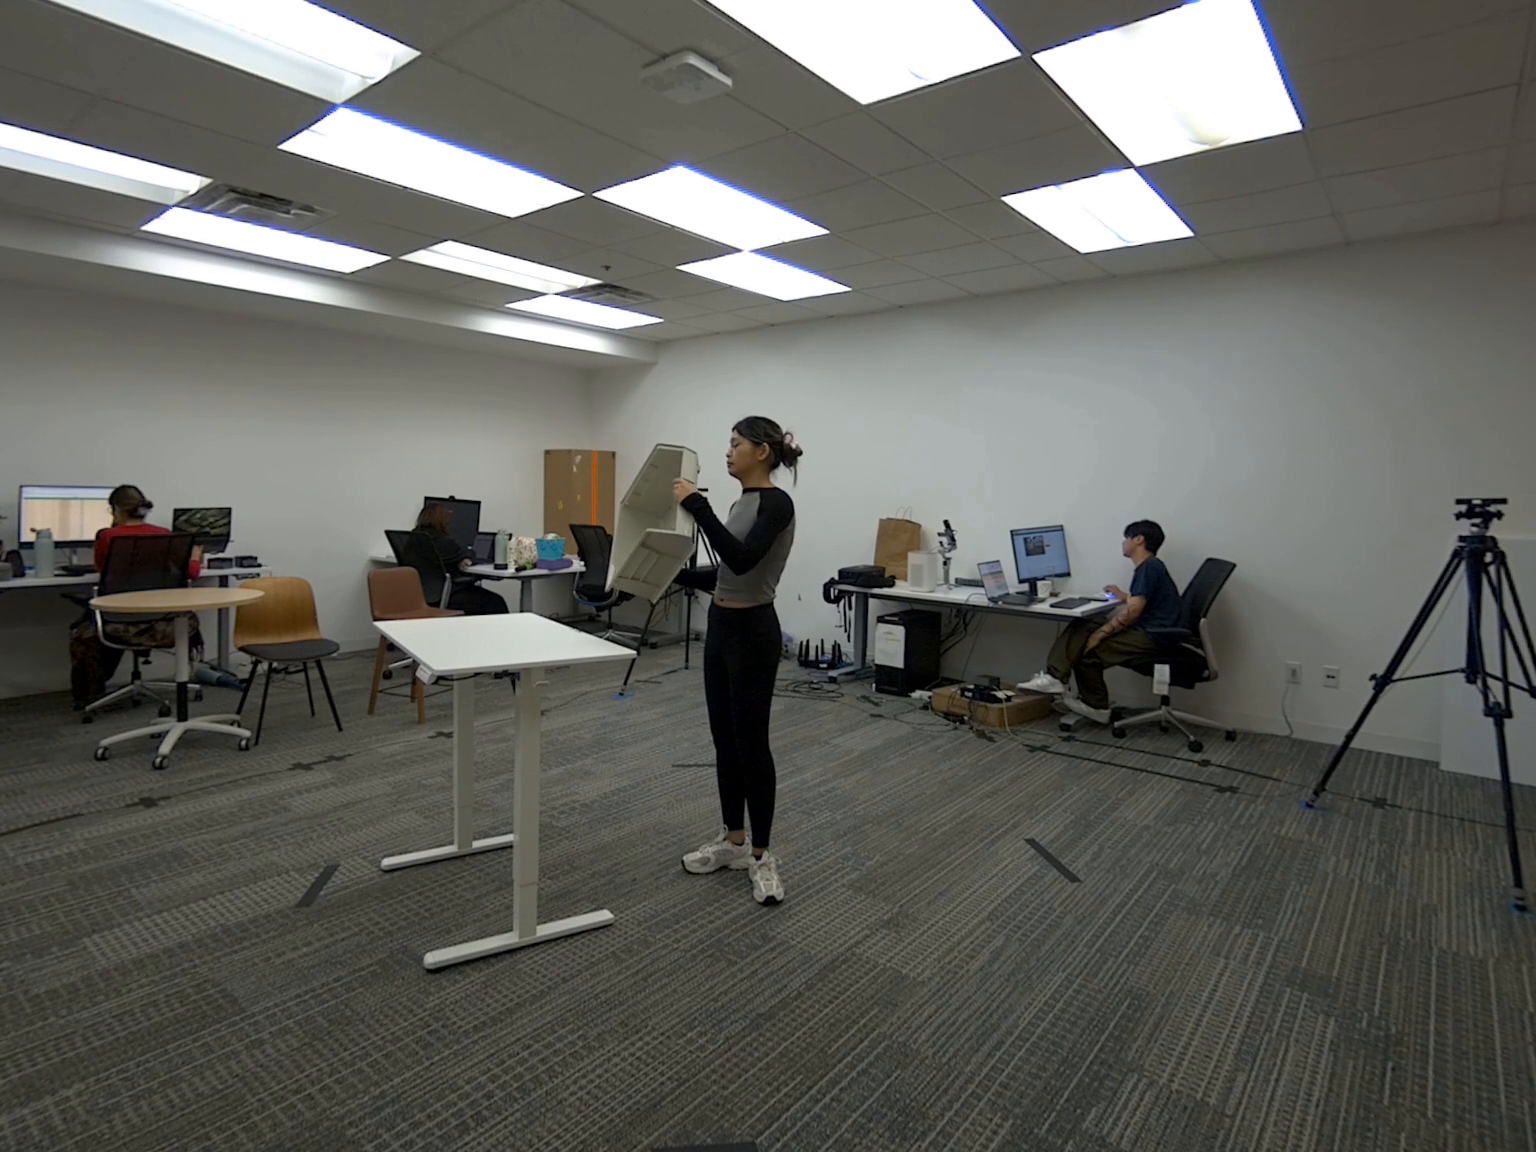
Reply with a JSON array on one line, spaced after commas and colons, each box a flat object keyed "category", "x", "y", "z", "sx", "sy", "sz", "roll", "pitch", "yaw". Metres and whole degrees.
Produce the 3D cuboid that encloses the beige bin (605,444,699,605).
[{"category": "beige bin", "x": -0.391, "y": -0.190, "z": 2.930, "sx": 0.184, "sy": 0.434, "sz": 0.376, "roll": 20, "pitch": -44, "yaw": -20}]
